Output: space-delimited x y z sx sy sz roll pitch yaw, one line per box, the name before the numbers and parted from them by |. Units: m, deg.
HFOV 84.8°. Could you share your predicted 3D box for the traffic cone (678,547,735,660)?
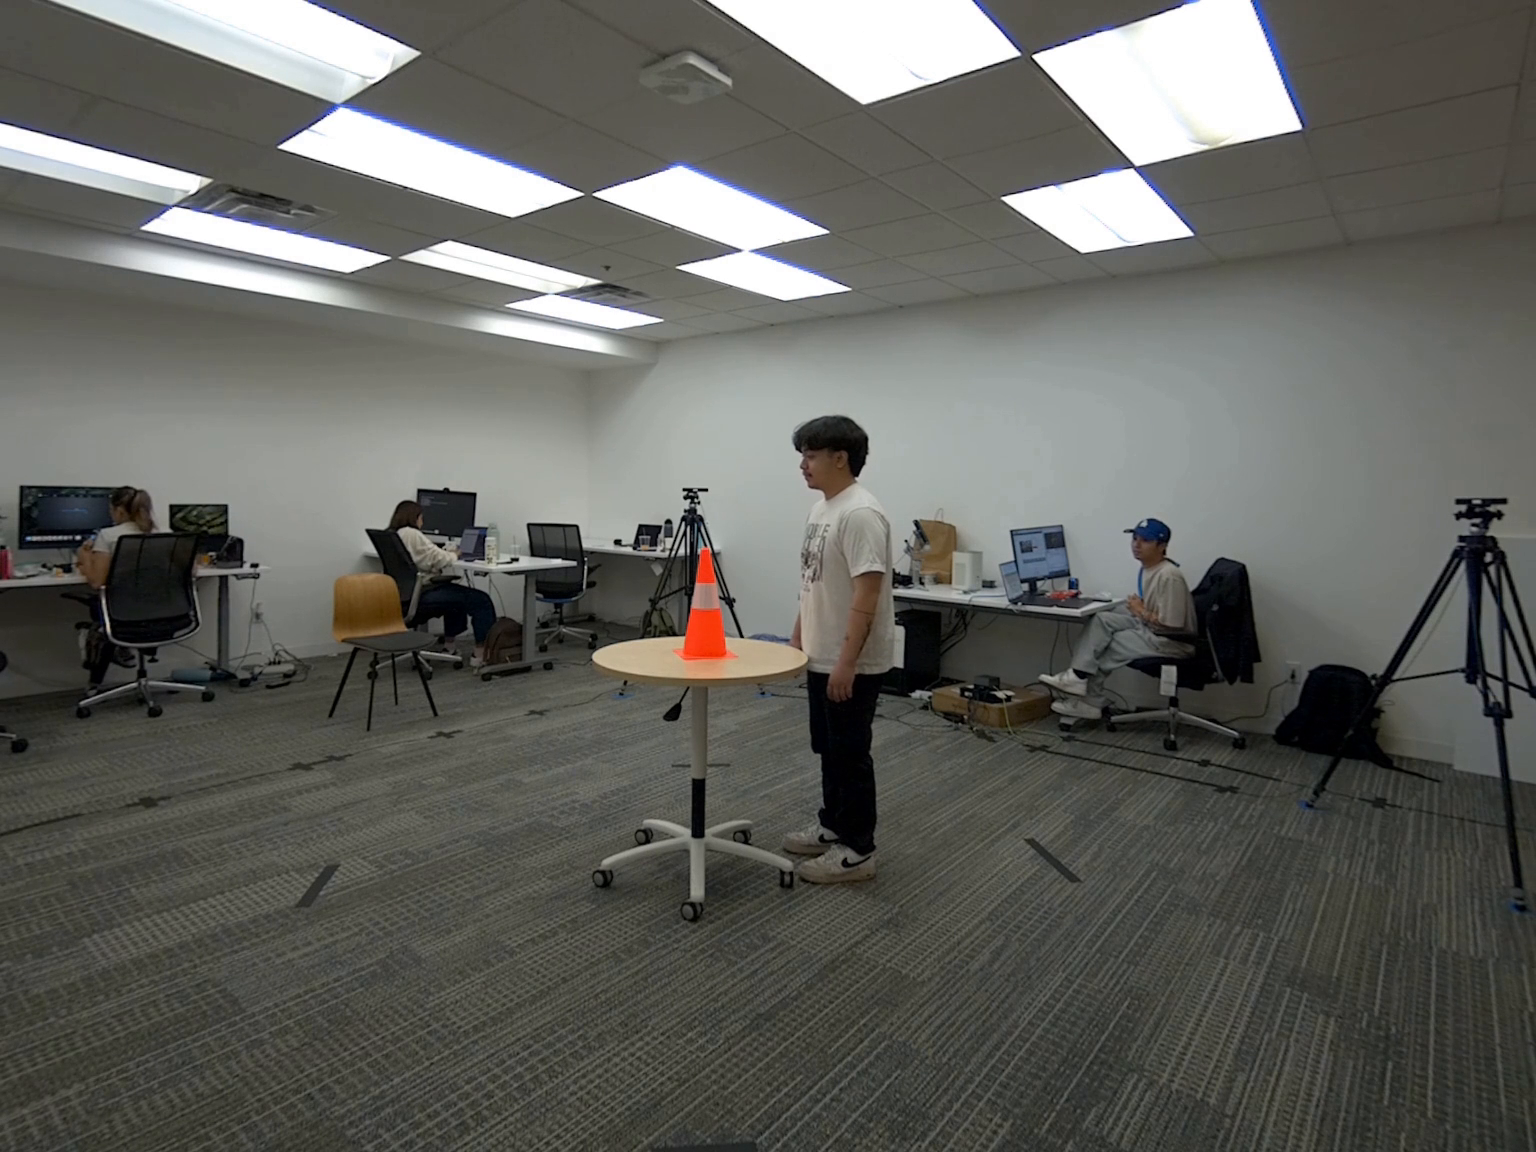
traffic cone | -0.235 0.089 3.046 0.209 0.382 0.200 2 4 30
